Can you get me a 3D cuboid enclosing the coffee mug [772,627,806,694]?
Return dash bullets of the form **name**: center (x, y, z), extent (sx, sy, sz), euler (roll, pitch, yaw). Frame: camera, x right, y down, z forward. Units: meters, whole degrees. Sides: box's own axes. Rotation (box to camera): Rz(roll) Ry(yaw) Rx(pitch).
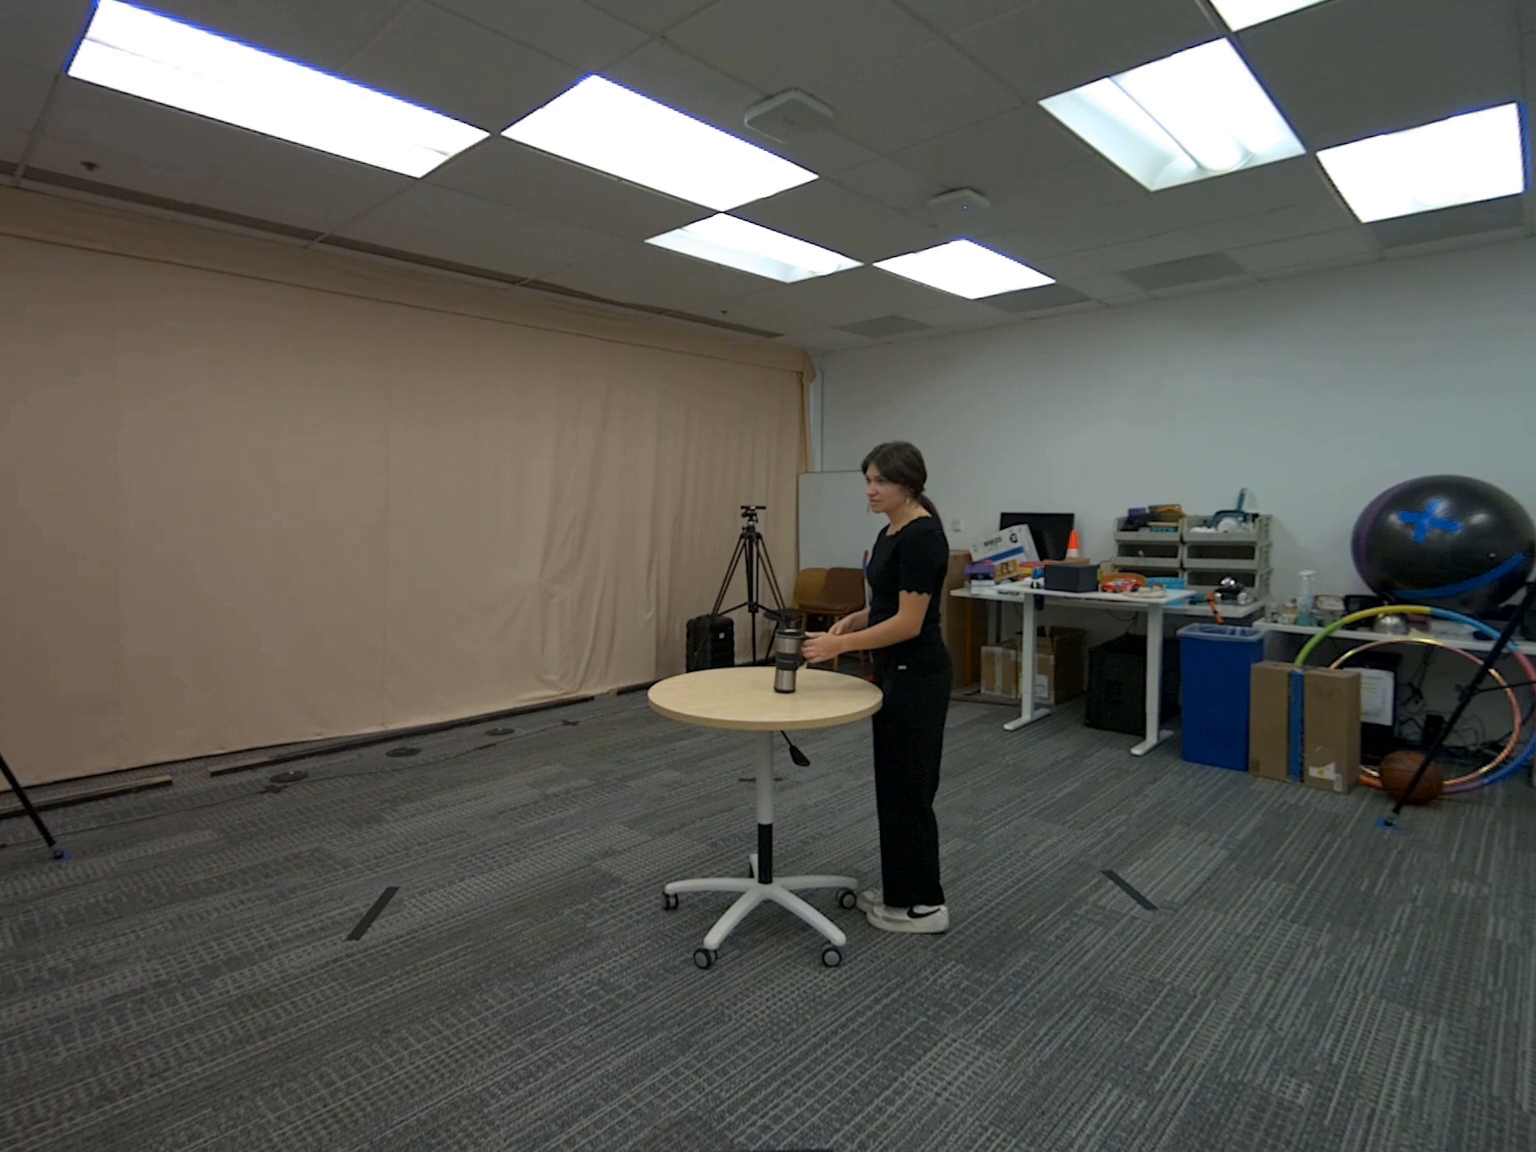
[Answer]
- **coffee mug**: center (0.082, 0.285, 2.735), extent (0.126, 0.203, 0.085), euler (7, 0, 45)
